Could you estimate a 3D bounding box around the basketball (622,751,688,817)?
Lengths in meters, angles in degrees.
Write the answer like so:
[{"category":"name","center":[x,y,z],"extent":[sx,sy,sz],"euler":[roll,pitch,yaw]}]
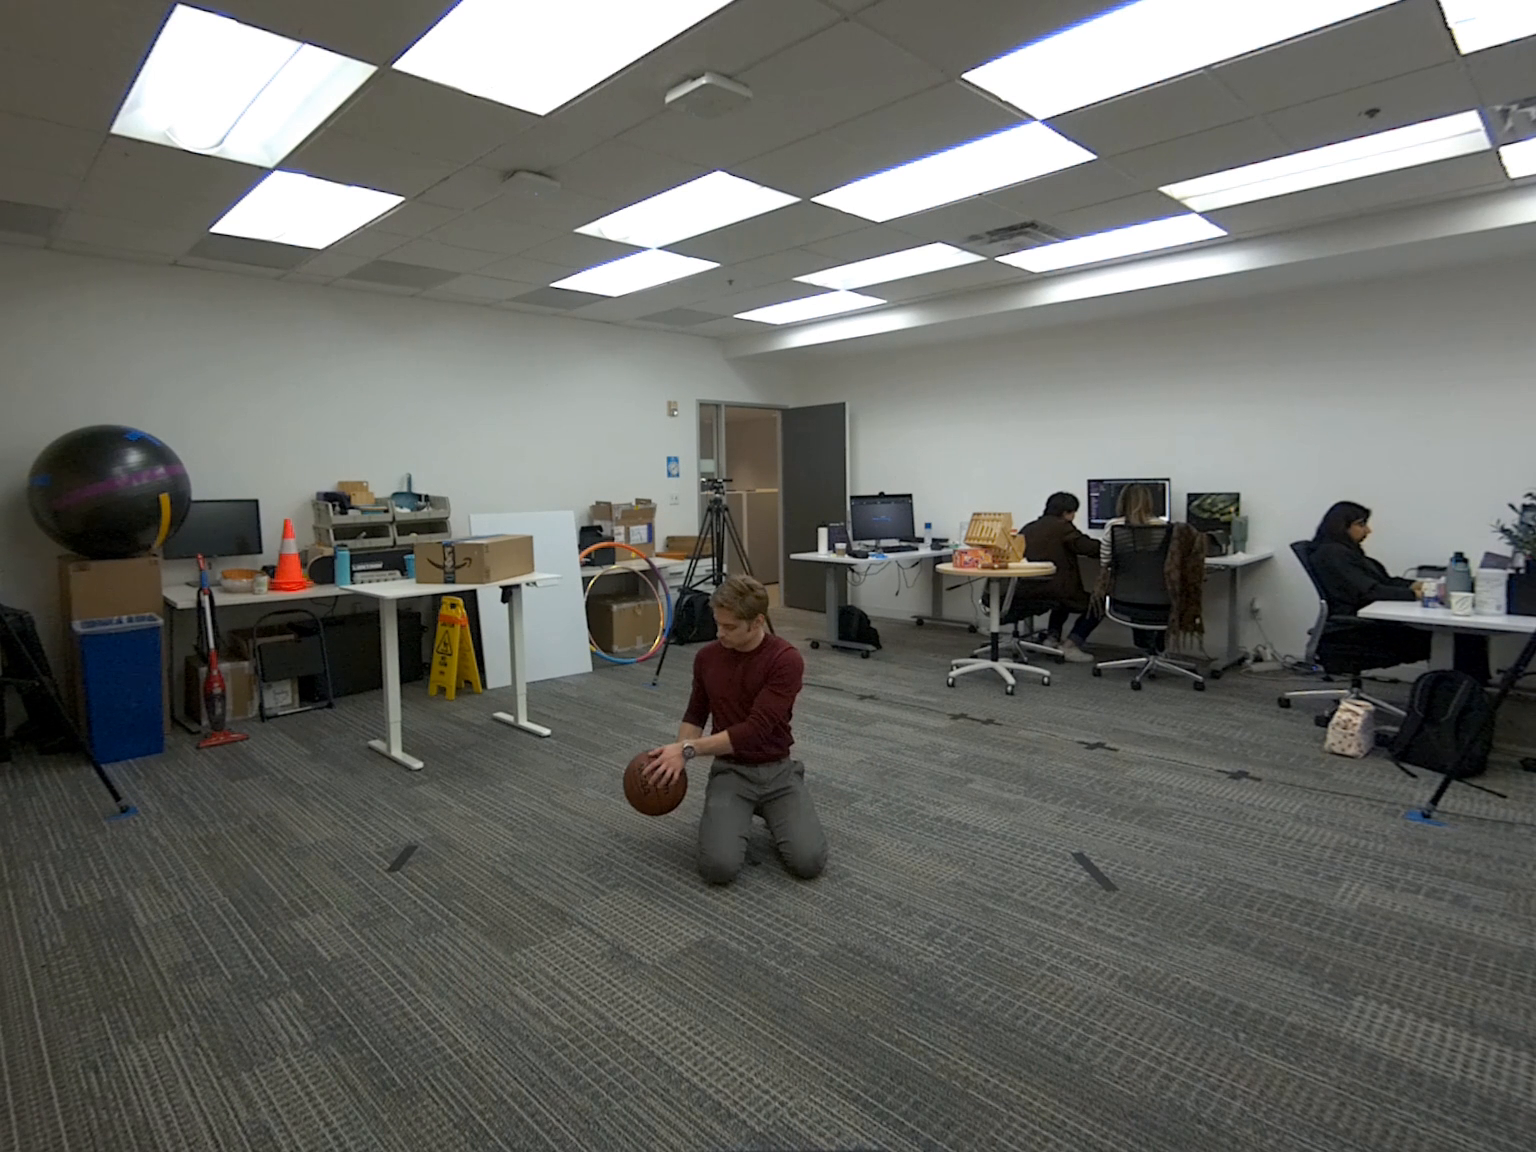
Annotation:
[{"category":"basketball","center":[-0.397,0.746,3.145],"extent":[0.236,0.235,0.237],"euler":[-1,5,-2]}]
